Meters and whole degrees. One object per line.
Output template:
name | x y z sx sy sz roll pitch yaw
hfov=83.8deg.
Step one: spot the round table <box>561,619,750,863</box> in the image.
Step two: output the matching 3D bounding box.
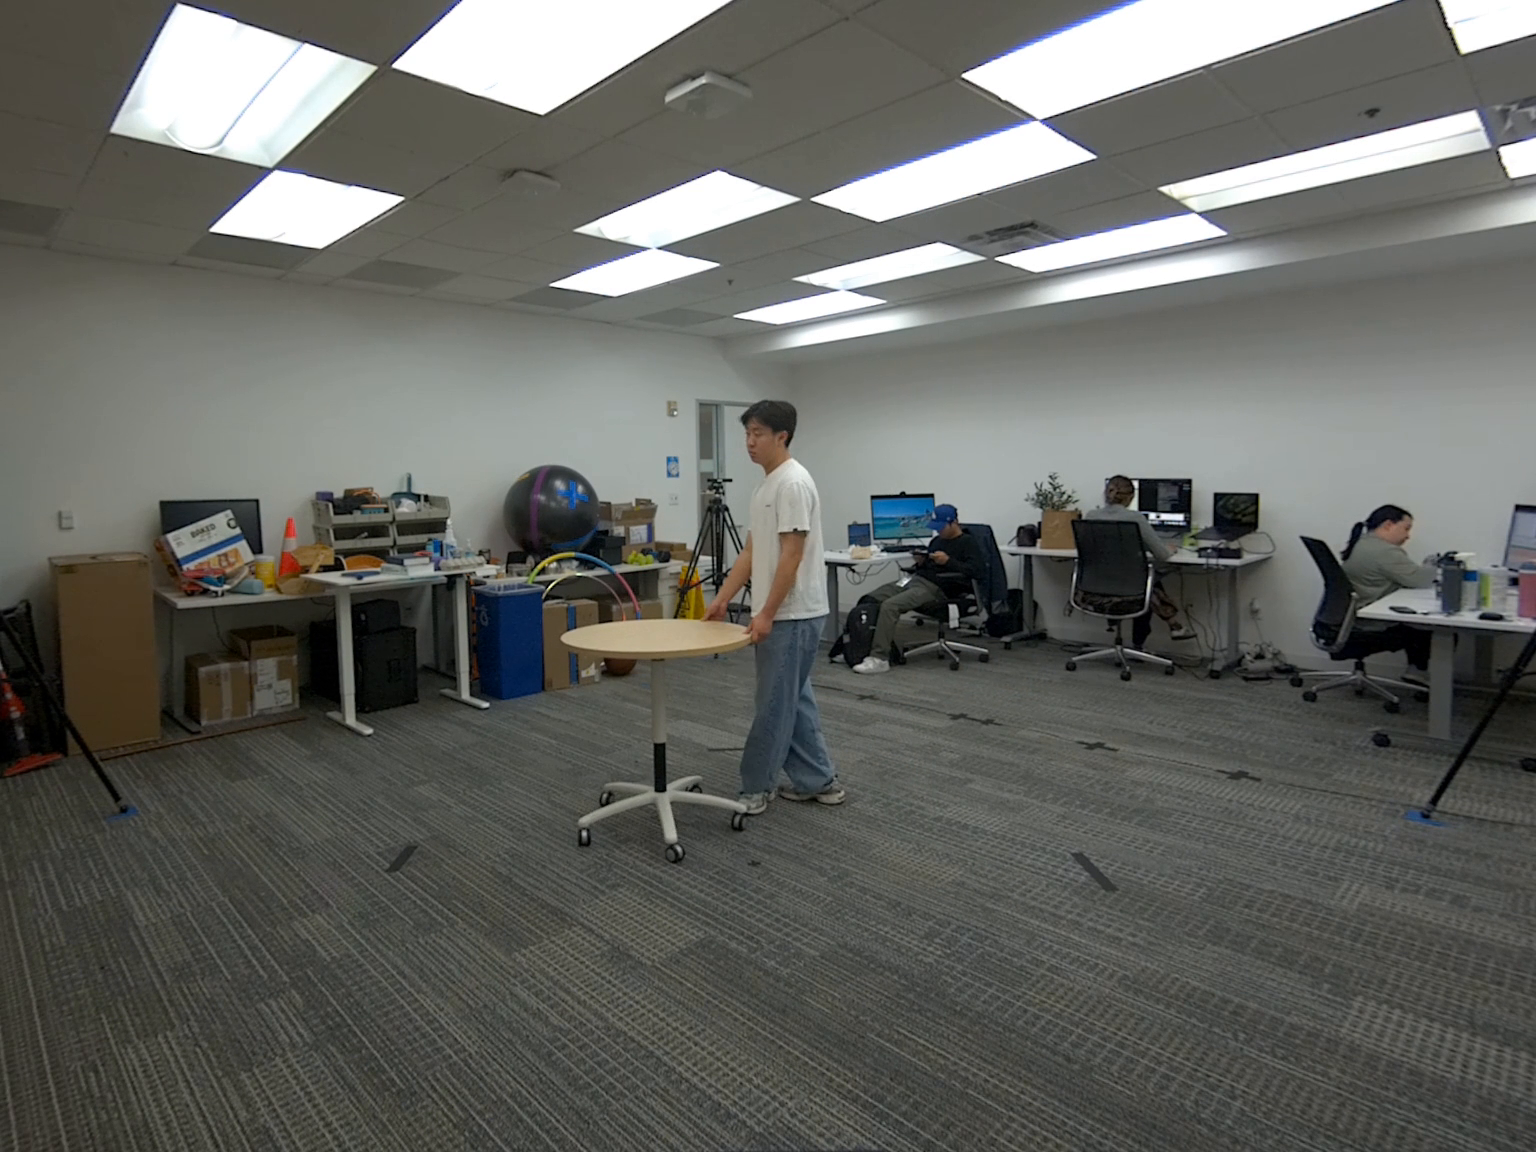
round table | -0.432 0.624 3.449 0.763 0.791 0.767 -1 4 -2
